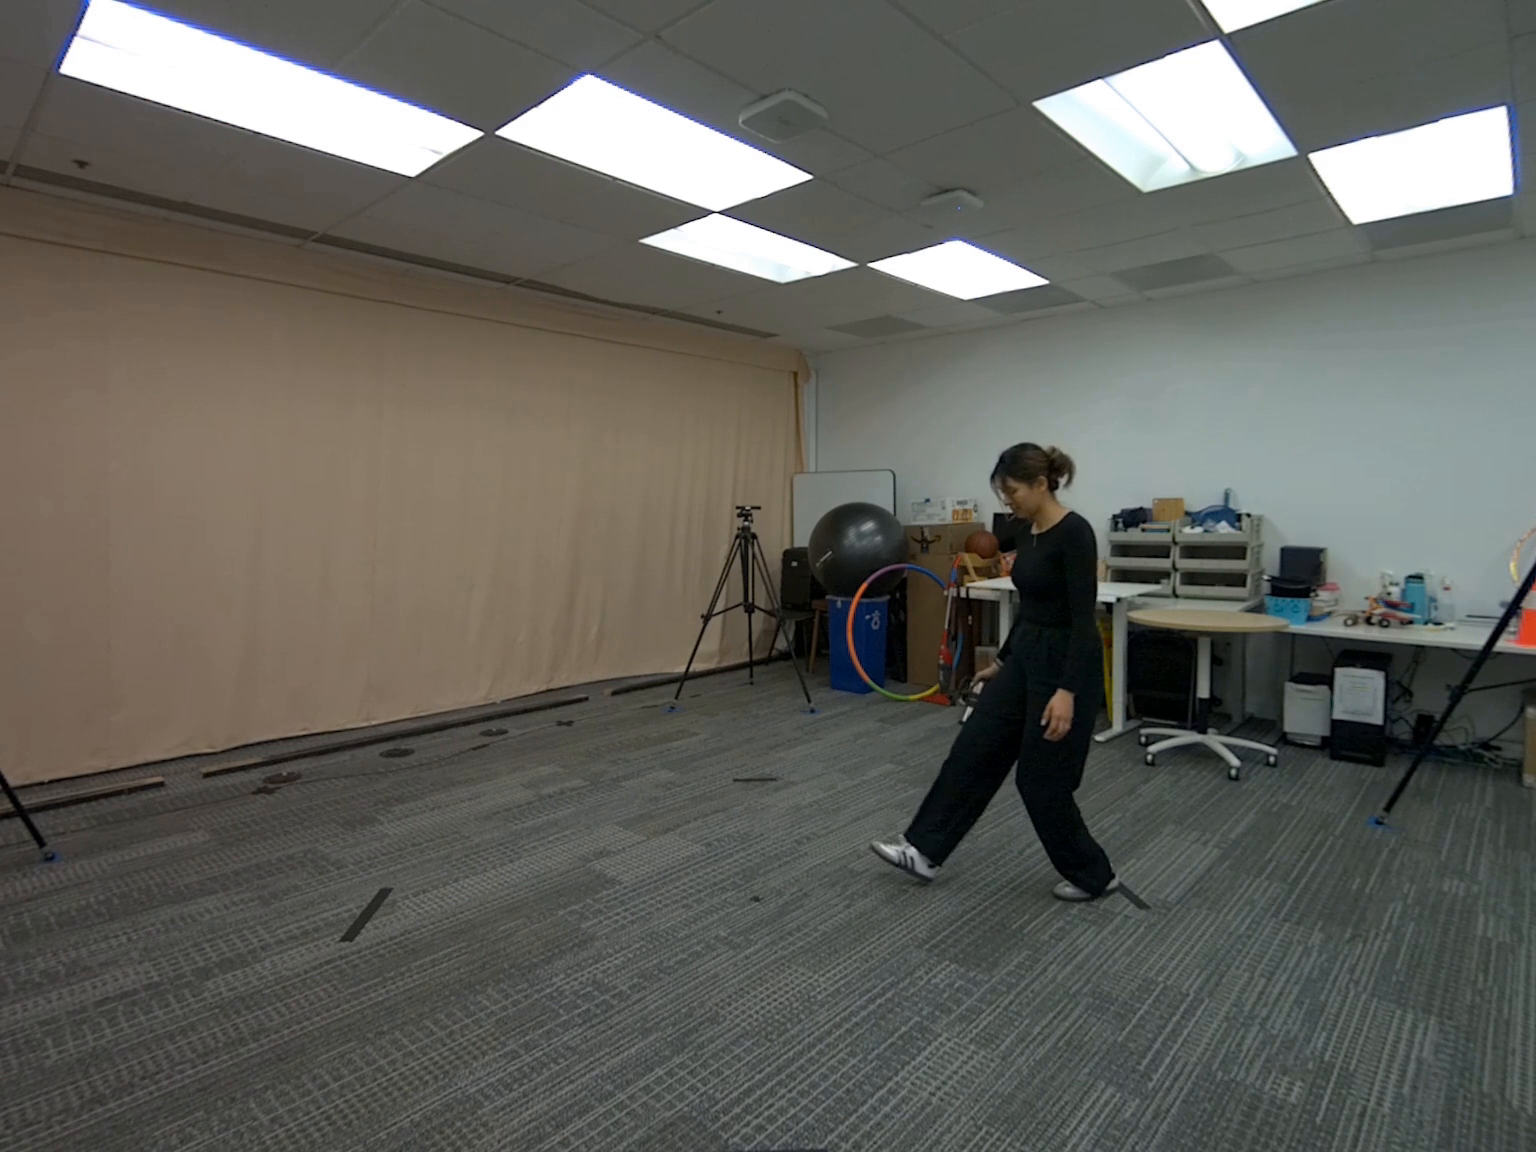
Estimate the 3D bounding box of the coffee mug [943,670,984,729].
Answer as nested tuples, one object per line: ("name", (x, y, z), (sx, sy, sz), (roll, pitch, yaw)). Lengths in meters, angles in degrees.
("coffee mug", (0.796, 0.497, 3.360), (0.125, 0.203, 0.085), (23, -12, 22))
